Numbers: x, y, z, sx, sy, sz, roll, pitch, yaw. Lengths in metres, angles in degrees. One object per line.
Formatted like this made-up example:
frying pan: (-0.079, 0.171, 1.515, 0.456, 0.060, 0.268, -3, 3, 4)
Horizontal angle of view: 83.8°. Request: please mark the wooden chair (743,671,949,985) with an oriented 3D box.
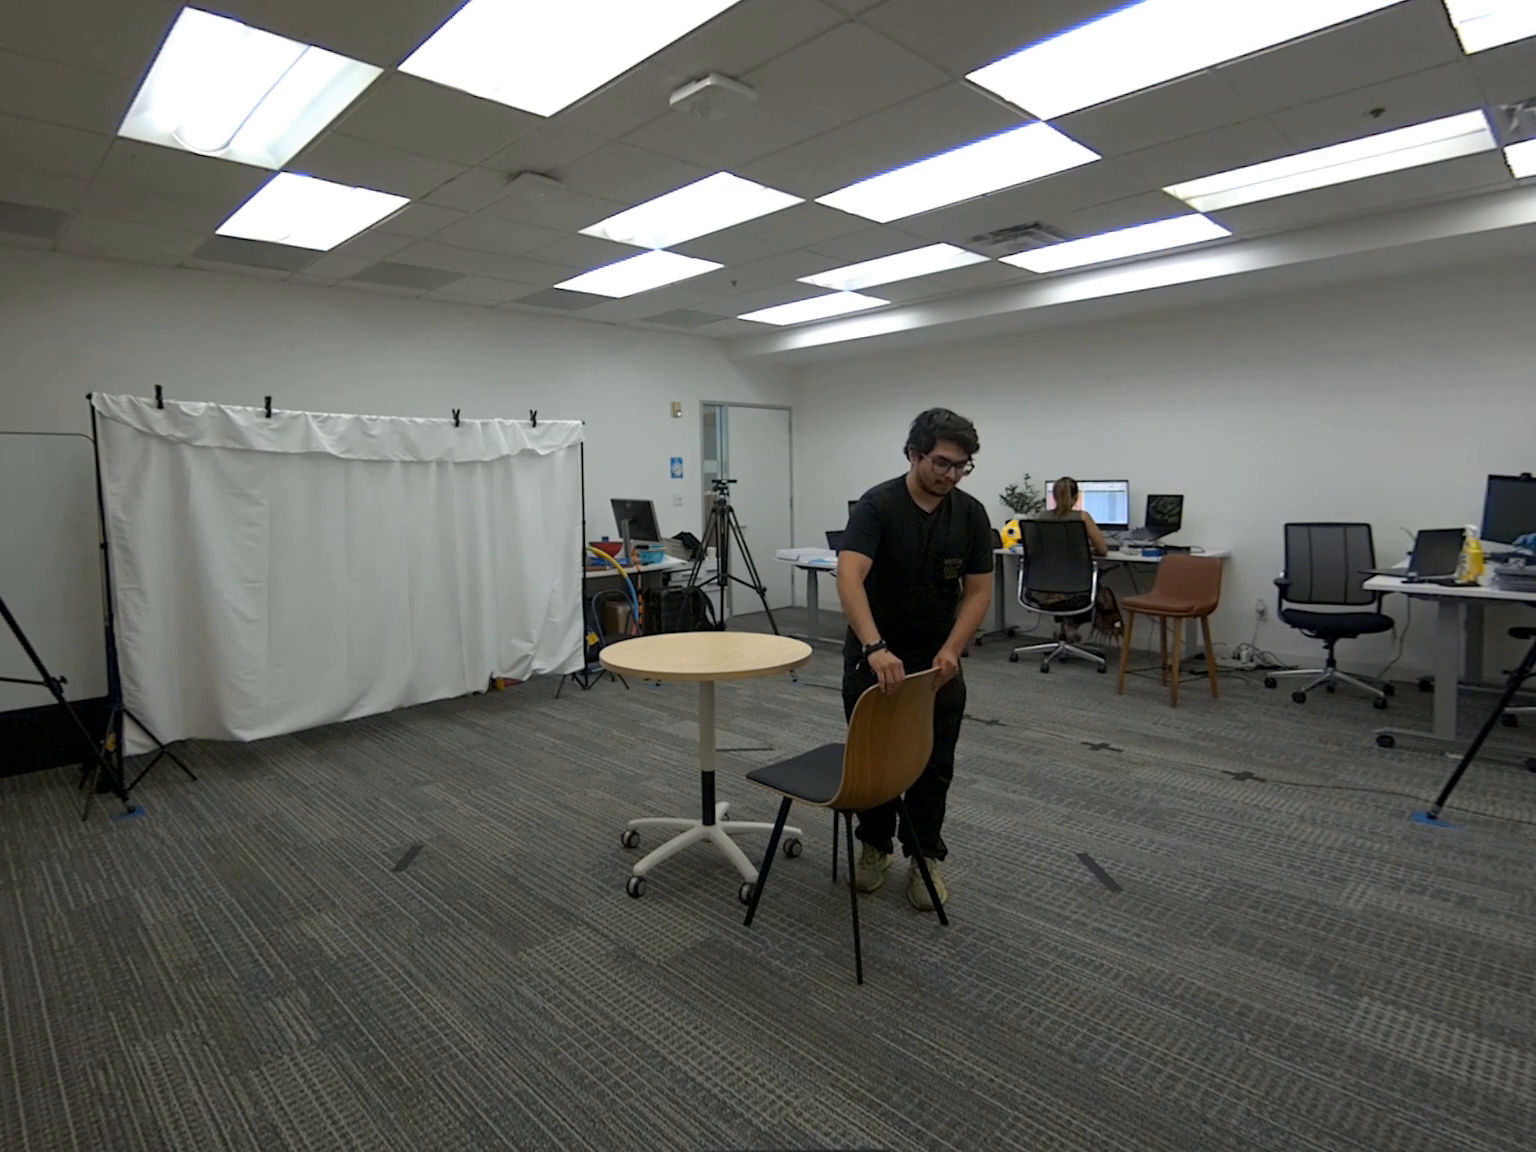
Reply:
wooden chair: (0.231, 0.667, 2.635, 0.540, 0.872, 0.465, 9, 10, 44)
